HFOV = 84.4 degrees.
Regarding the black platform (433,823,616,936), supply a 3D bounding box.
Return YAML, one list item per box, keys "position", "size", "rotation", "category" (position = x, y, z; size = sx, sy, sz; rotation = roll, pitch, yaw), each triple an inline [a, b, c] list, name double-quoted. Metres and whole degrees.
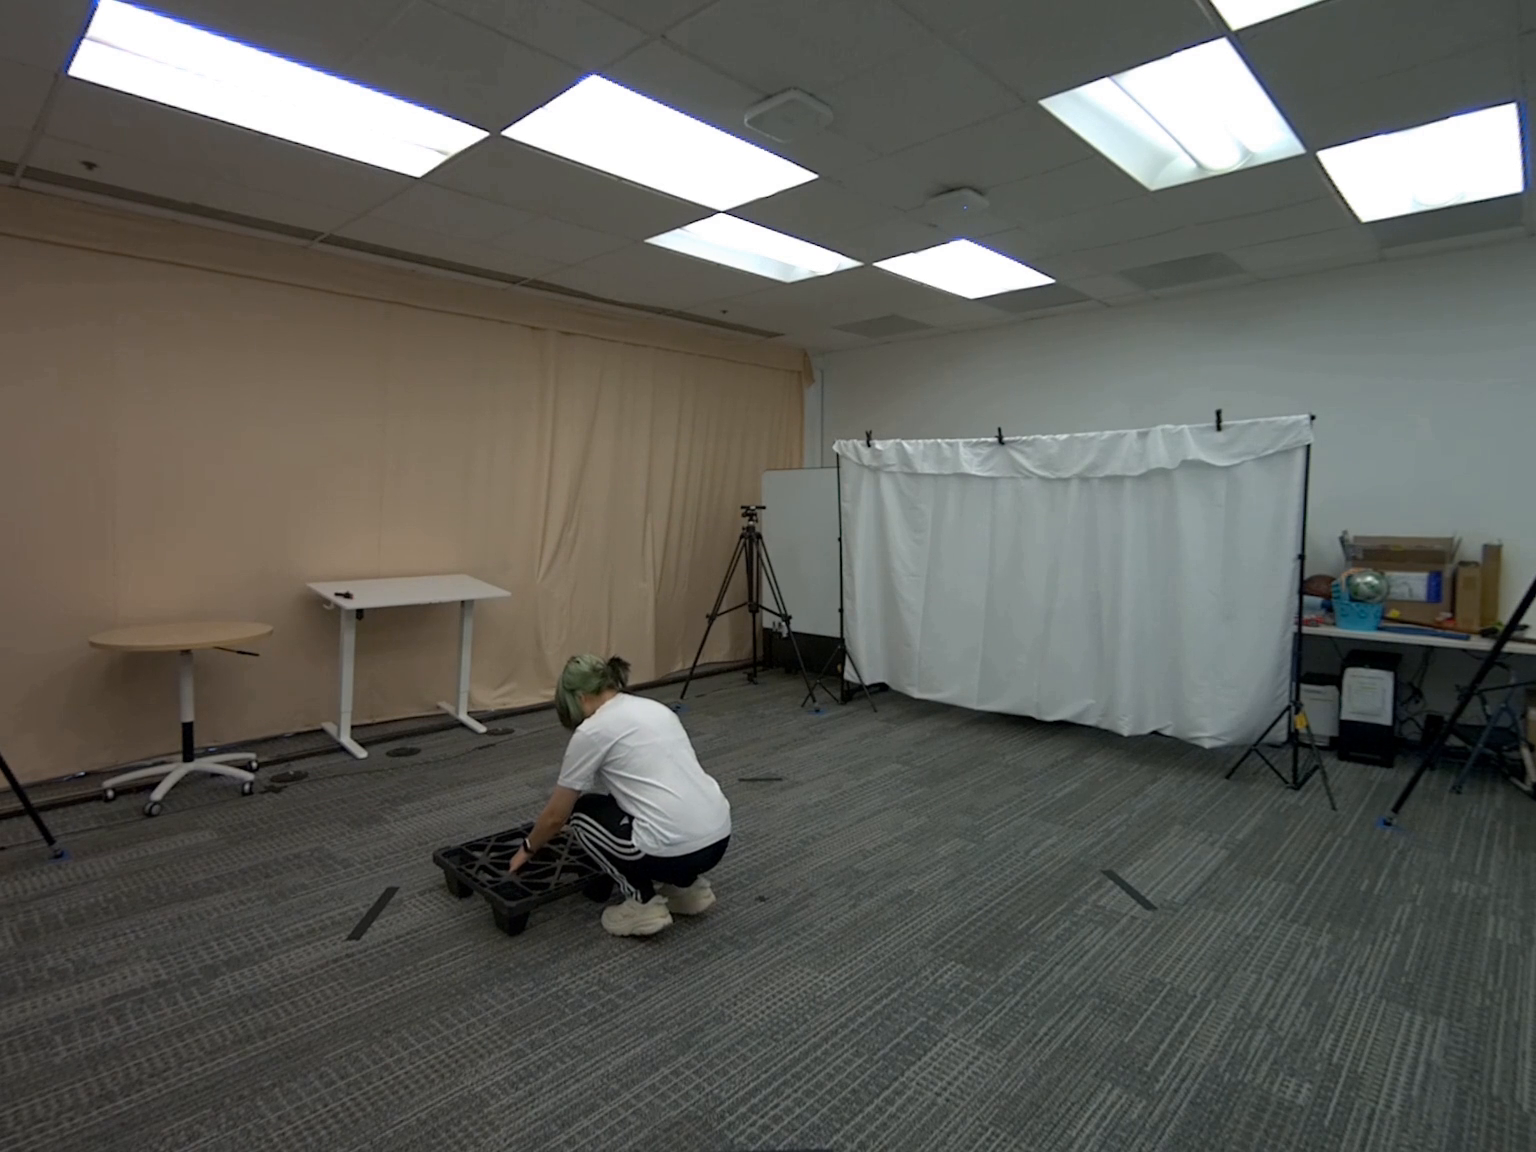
- position: [-0.740, 1.070, 3.145]
  size: [0.781, 0.143, 0.625]
  rotation: [-6, 7, -43]
  category: "black platform"
